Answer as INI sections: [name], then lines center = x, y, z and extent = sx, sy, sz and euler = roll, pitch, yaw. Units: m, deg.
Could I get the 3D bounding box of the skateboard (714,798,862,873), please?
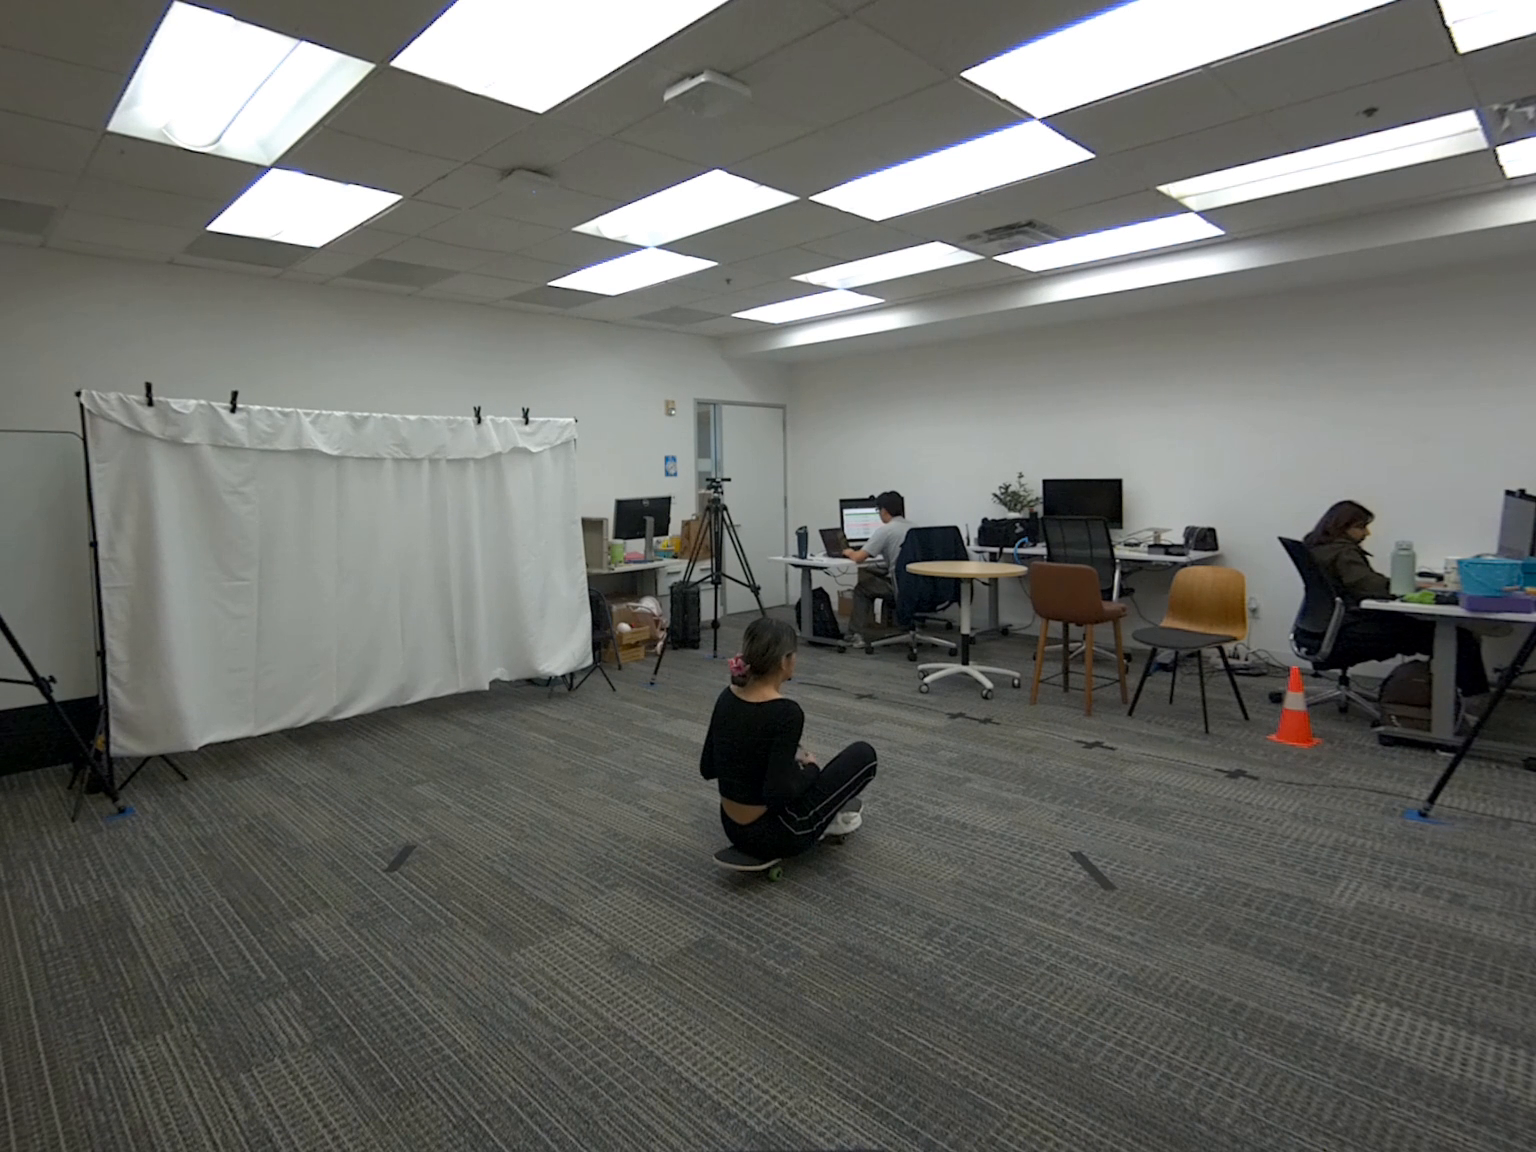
[skateboard]
center = 0.102, 0.971, 3.174
extent = 0.199, 0.110, 0.767
euler = 3, 9, 37
